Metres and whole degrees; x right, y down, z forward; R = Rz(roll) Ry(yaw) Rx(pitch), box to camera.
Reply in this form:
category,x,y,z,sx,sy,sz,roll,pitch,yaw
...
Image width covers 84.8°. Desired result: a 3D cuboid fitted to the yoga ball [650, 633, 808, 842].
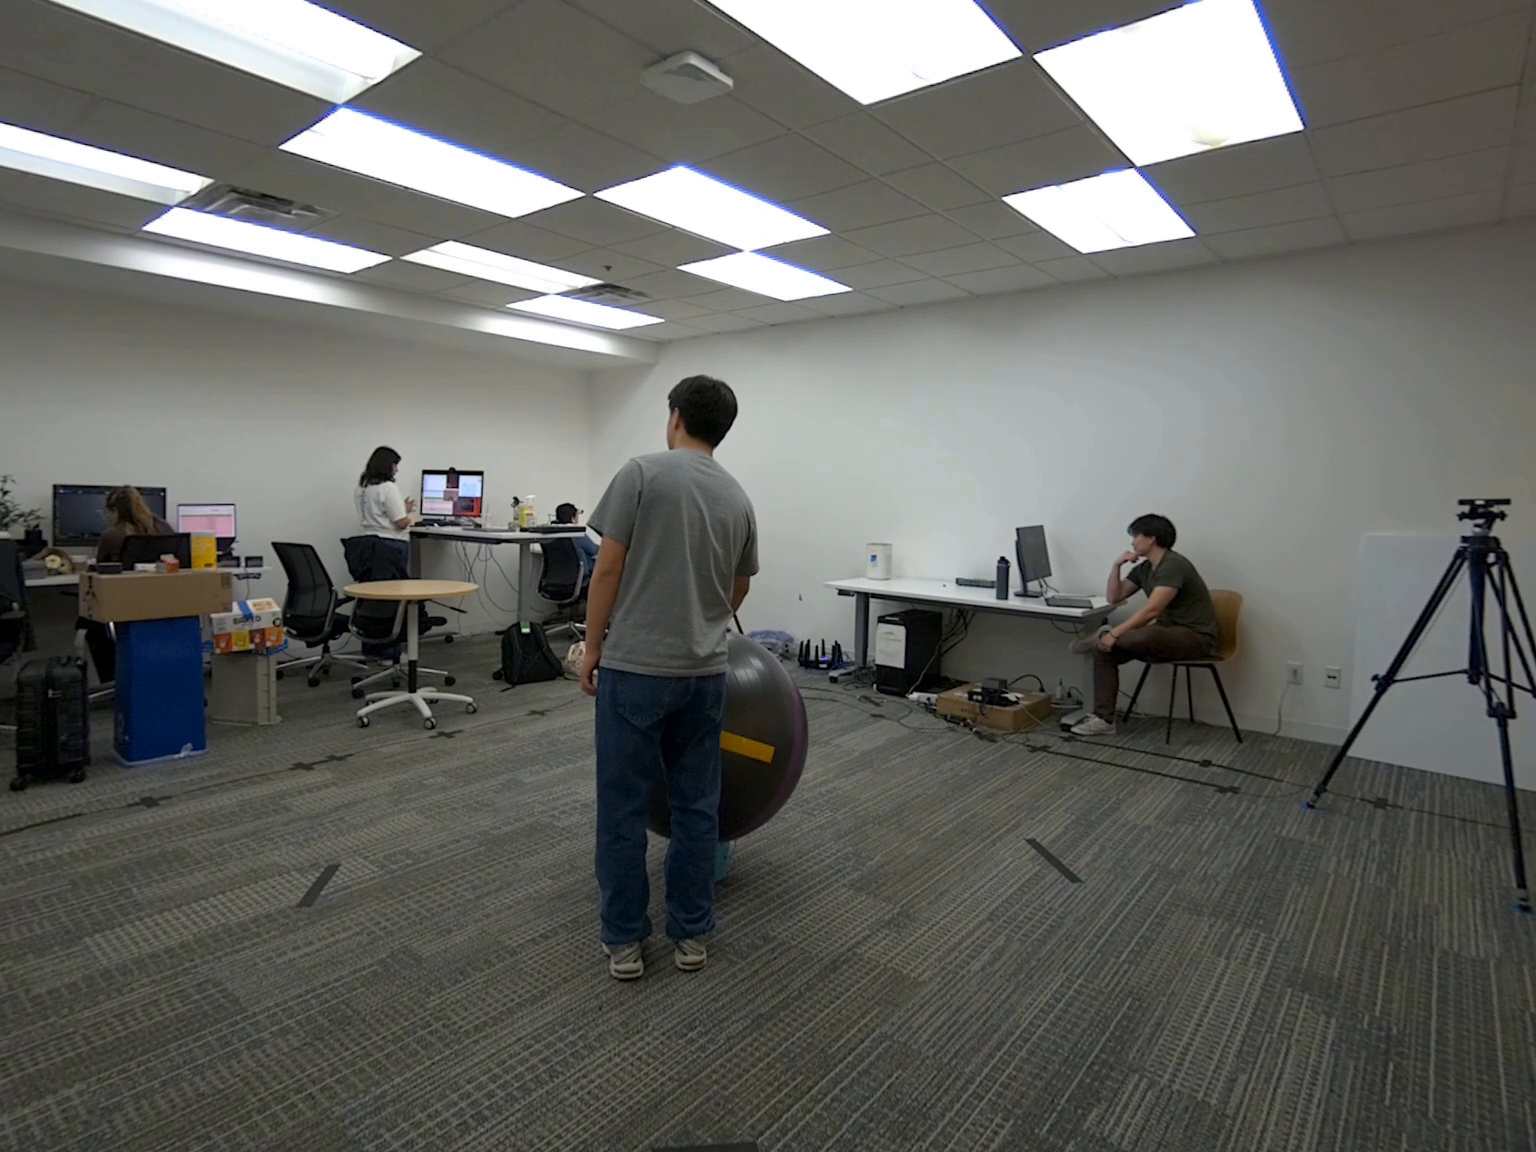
category,x,y,z,sx,sy,sz,roll,pitch,yaw
yoga ball,-0.247,0.559,3.060,0.757,0.755,0.762,1,4,-2
